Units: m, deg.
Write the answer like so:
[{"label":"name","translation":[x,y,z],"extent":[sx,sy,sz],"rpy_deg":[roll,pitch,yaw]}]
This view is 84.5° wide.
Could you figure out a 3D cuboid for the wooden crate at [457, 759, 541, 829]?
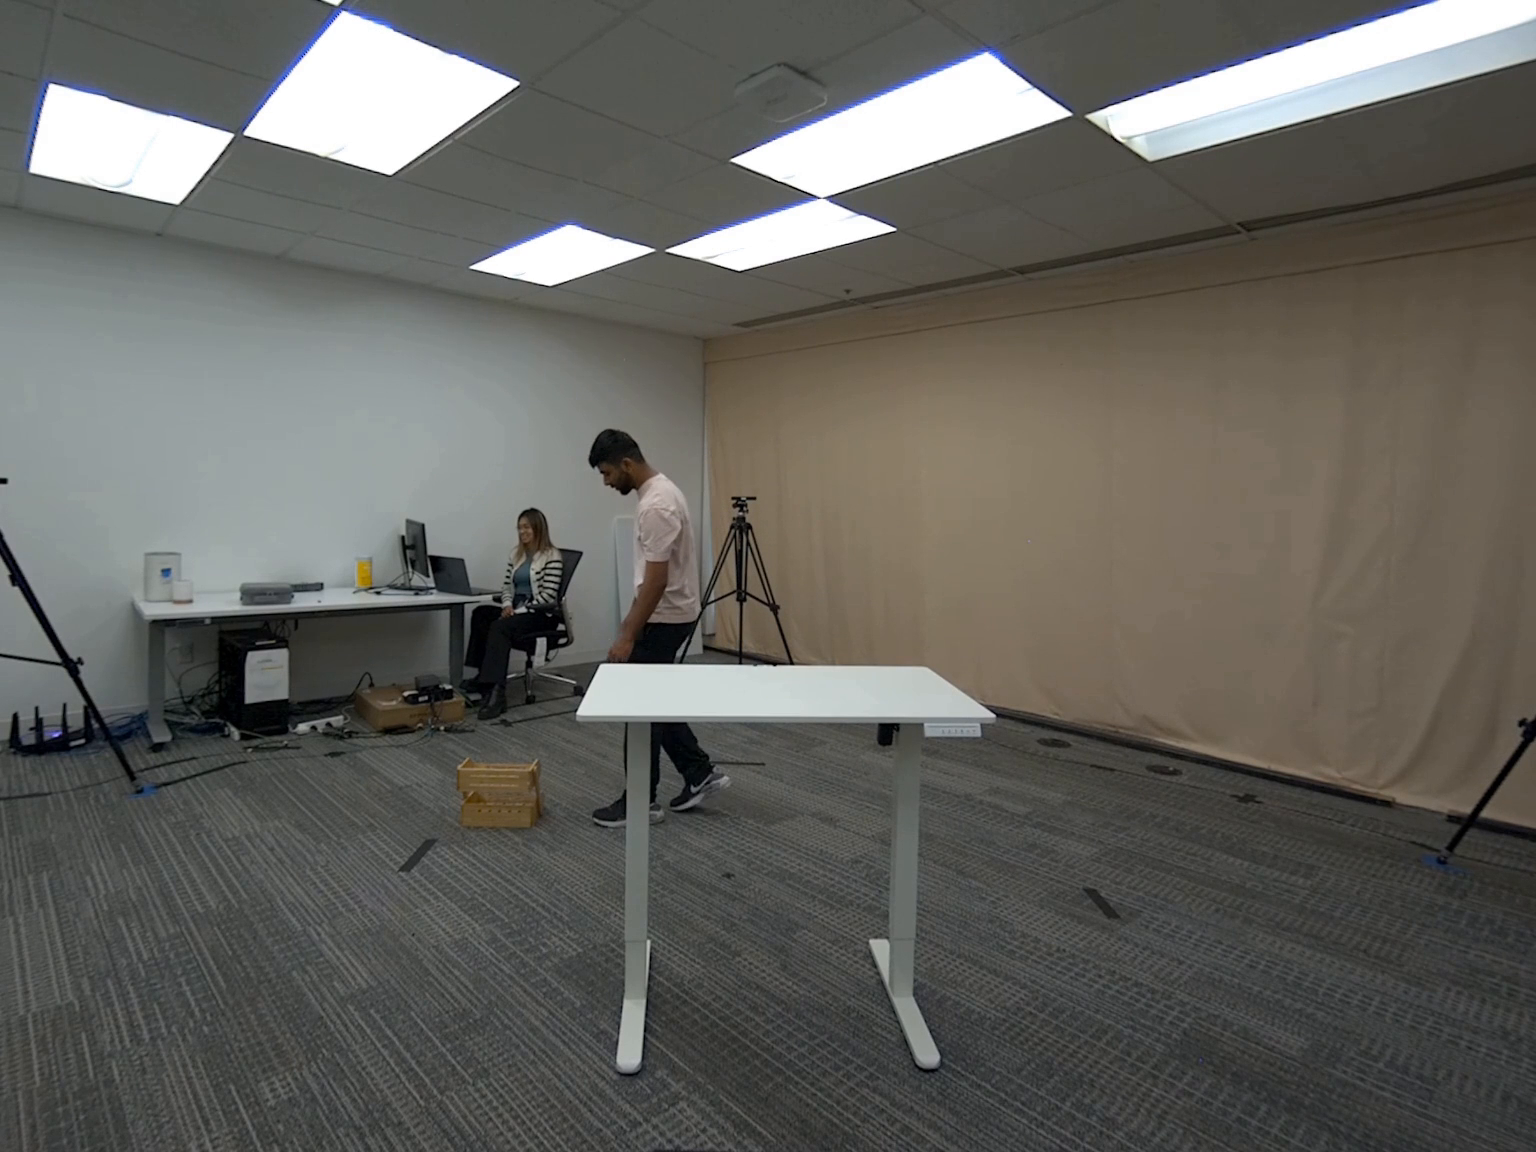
[{"label":"wooden crate","translation":[-1.148,0.908,3.605],"extent":[0.324,0.272,0.303],"rpy_deg":[1,5,-3]}]
